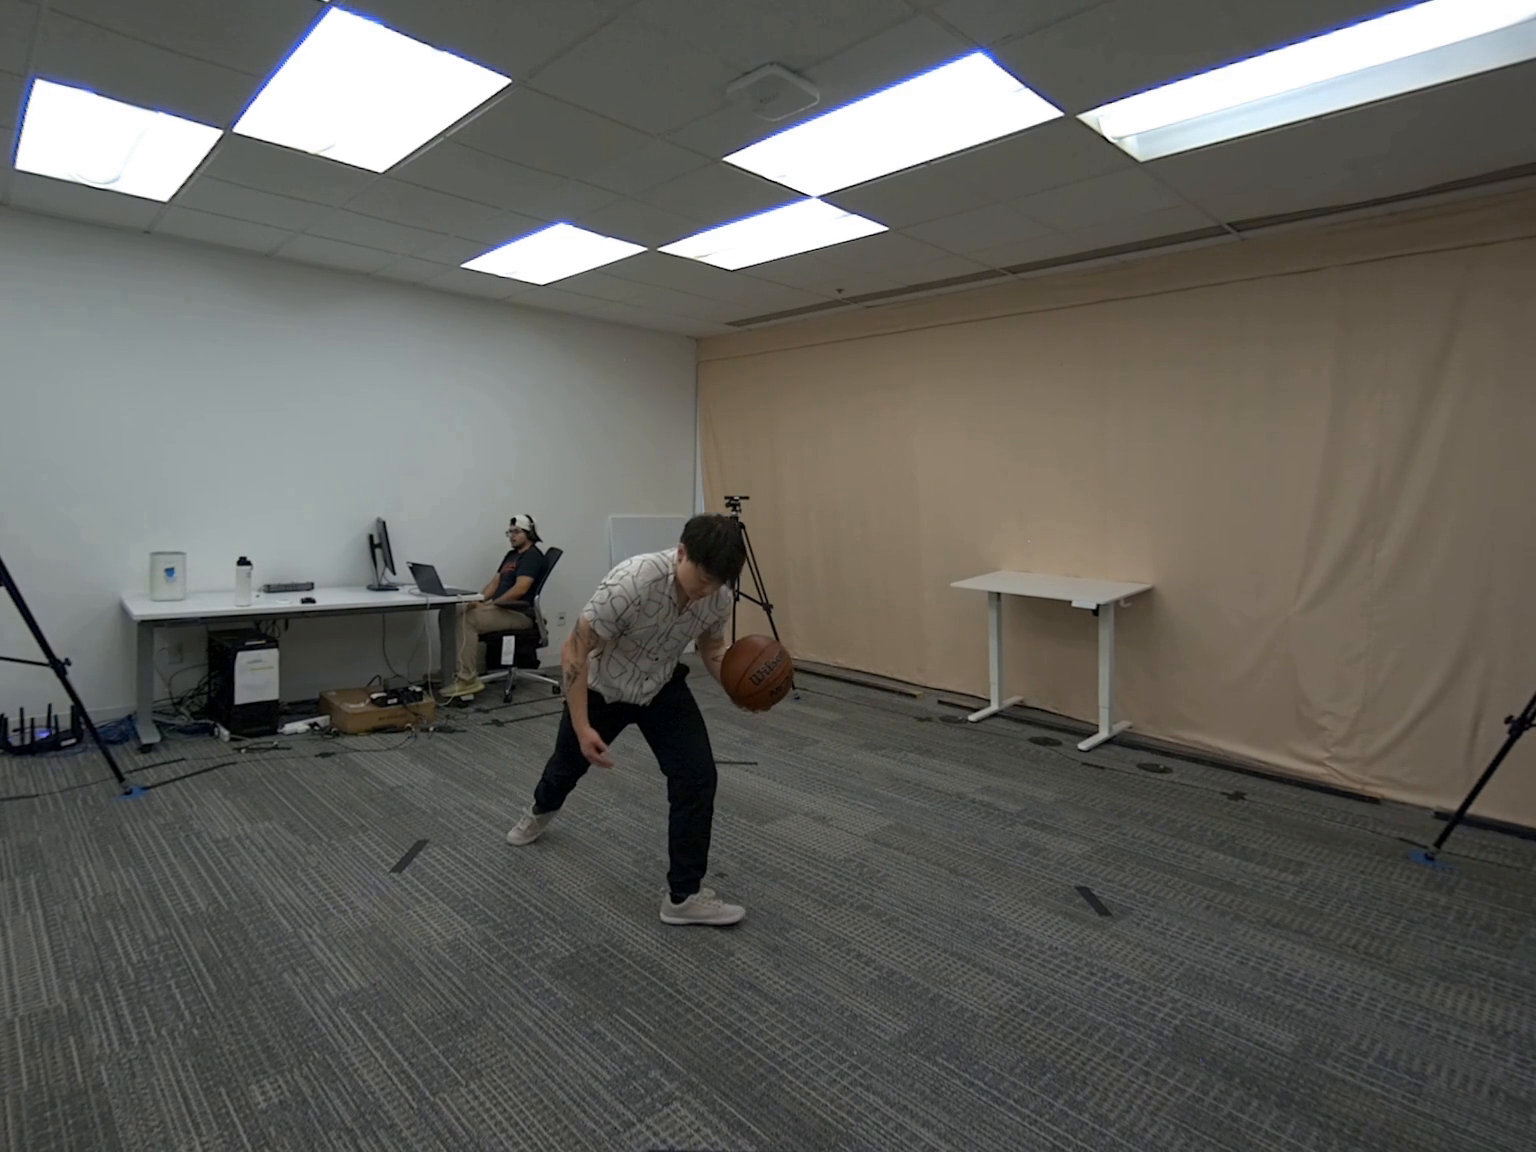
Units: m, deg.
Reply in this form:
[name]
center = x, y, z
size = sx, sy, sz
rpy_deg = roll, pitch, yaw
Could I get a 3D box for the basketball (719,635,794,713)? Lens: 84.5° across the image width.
[basketball]
center = -0.041, 0.310, 2.713
size = 0.236, 0.235, 0.237
rpy_deg = 1, 4, -1
